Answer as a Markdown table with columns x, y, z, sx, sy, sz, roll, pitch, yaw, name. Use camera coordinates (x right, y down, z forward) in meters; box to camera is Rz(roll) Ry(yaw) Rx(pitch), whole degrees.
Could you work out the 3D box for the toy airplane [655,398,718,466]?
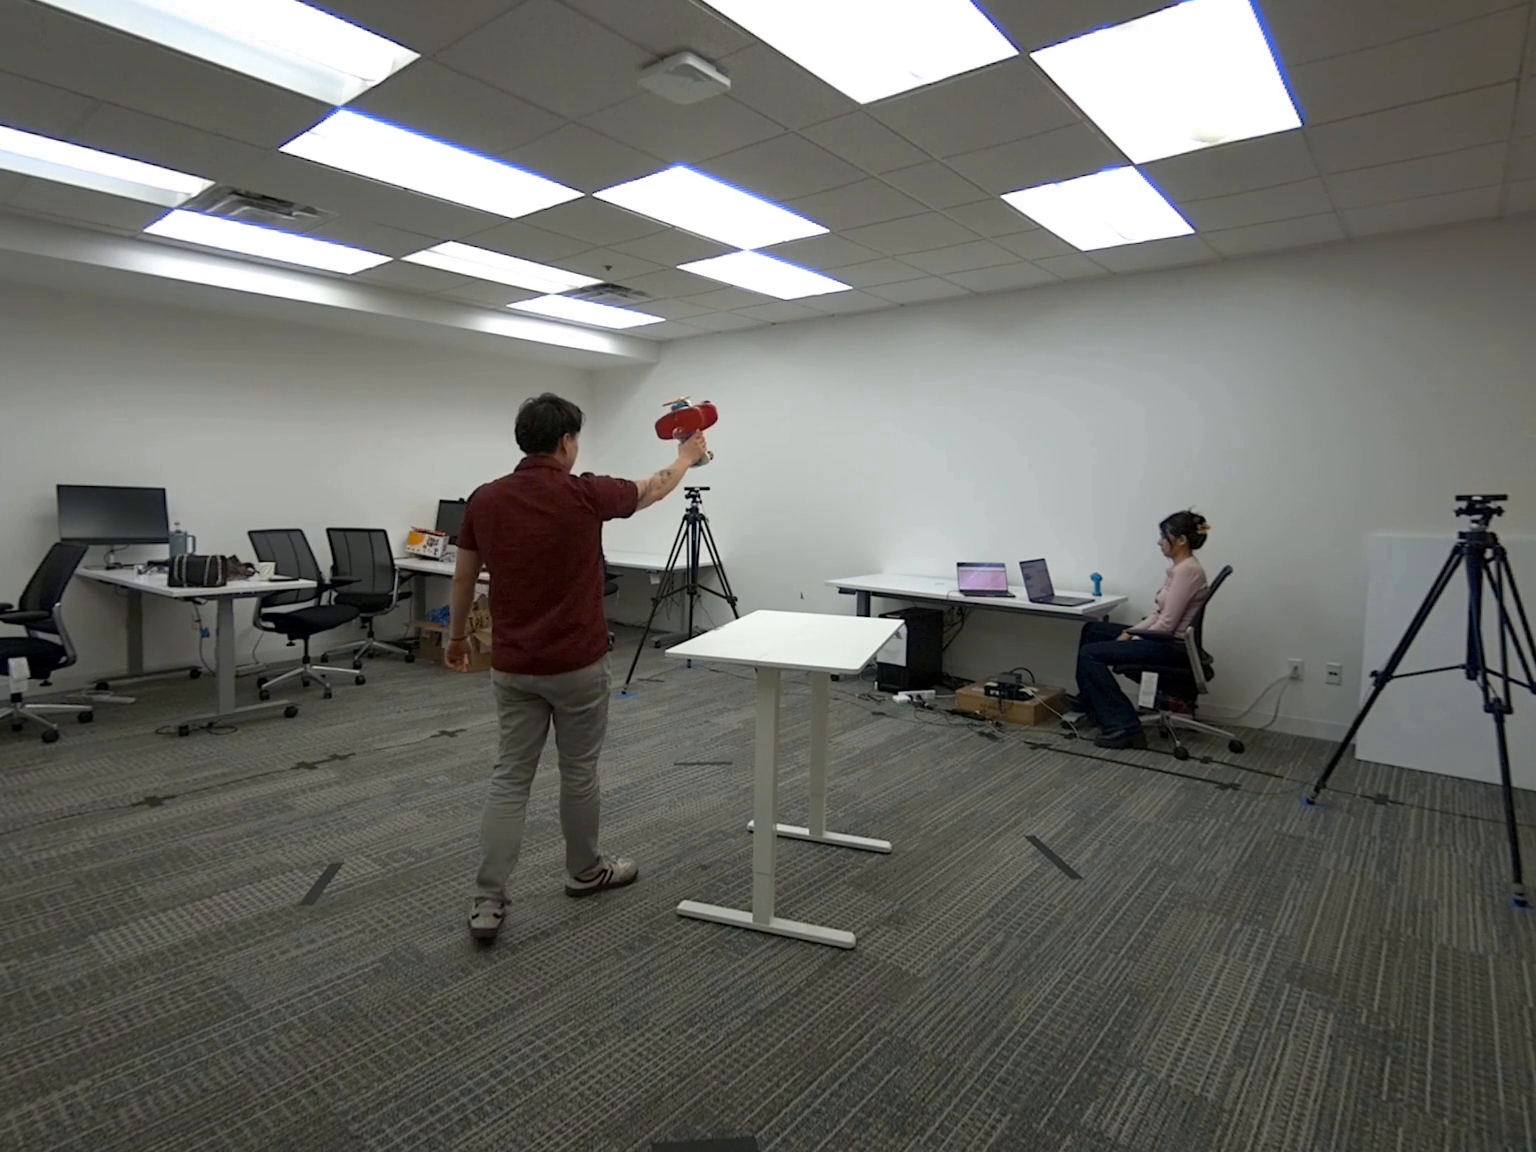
| x | y | z | sx | sy | sz | roll | pitch | yaw | name |
| --- | --- | --- | --- | --- | --- | --- | --- | --- | --- |
| -0.283 | -0.542 | 3.151 | 0.151 | 0.267 | 0.251 | -2 | -34 | -45 | toy airplane |
